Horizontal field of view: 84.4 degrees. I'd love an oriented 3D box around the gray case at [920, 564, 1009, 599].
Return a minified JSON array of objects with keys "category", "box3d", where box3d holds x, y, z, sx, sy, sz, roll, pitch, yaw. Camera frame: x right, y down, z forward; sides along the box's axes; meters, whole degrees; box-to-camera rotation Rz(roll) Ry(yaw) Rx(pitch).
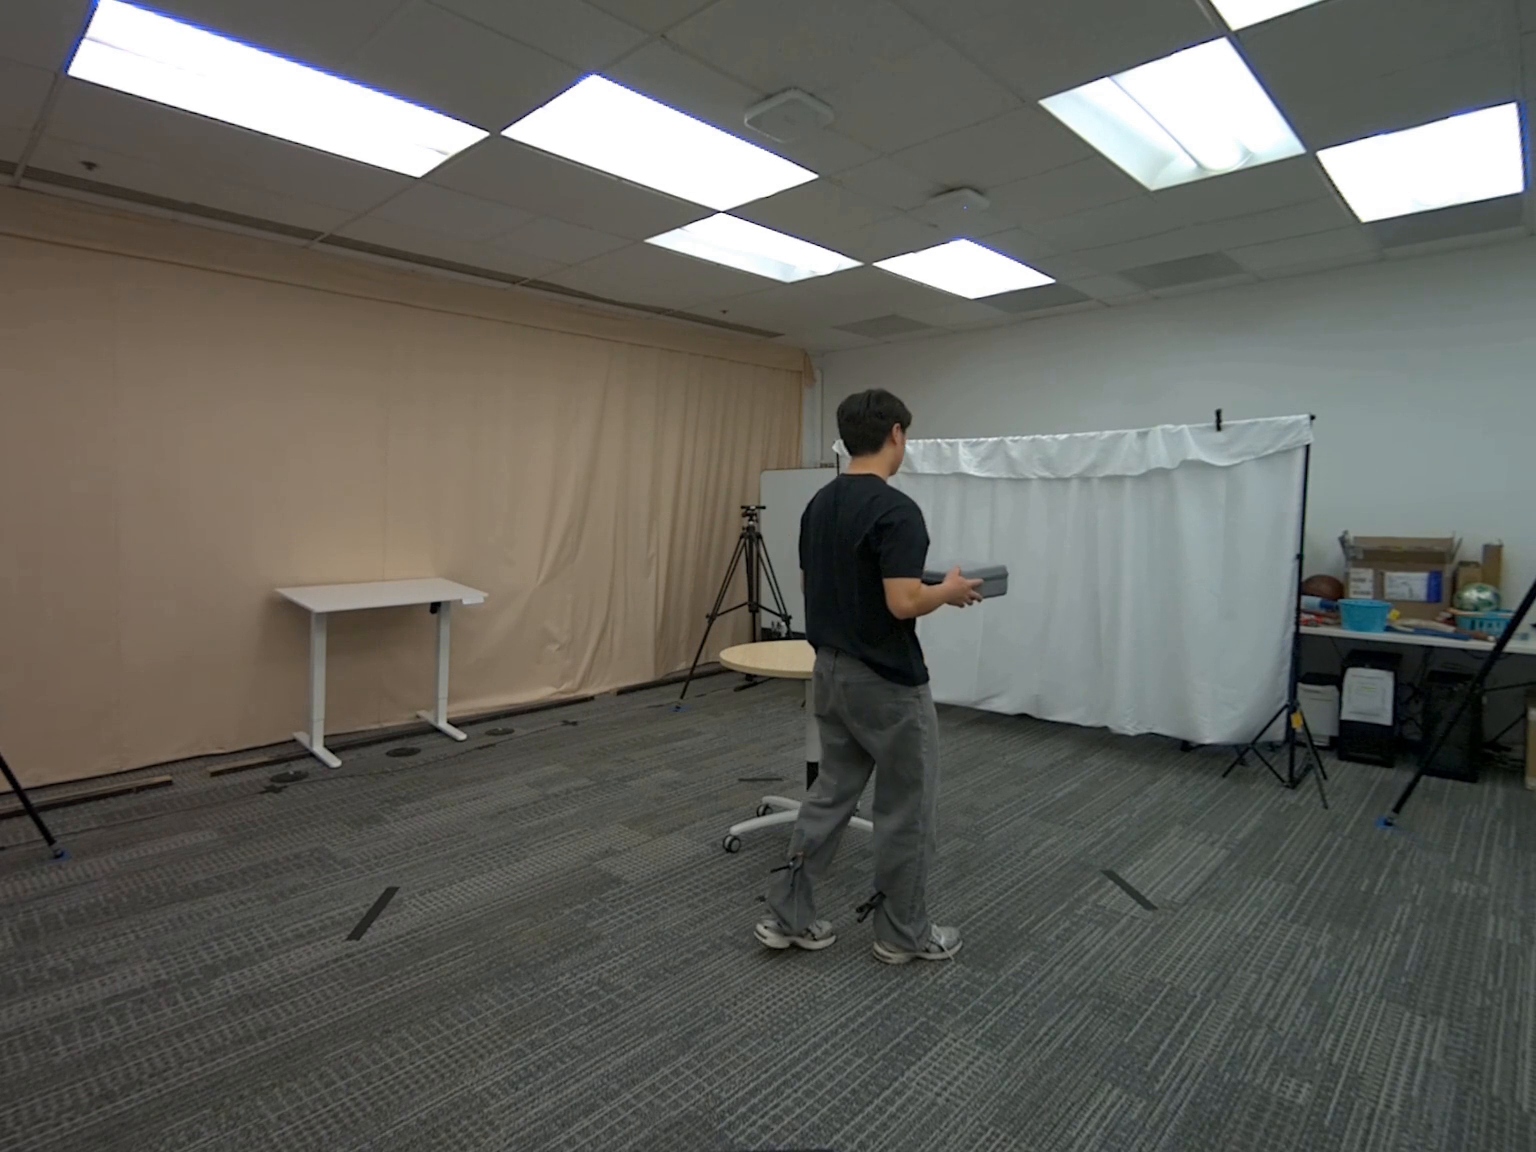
[{"category":"gray case","box3d":[0.599,0.017,2.709,0.281,0.102,0.269,-7,8,-21]}]
